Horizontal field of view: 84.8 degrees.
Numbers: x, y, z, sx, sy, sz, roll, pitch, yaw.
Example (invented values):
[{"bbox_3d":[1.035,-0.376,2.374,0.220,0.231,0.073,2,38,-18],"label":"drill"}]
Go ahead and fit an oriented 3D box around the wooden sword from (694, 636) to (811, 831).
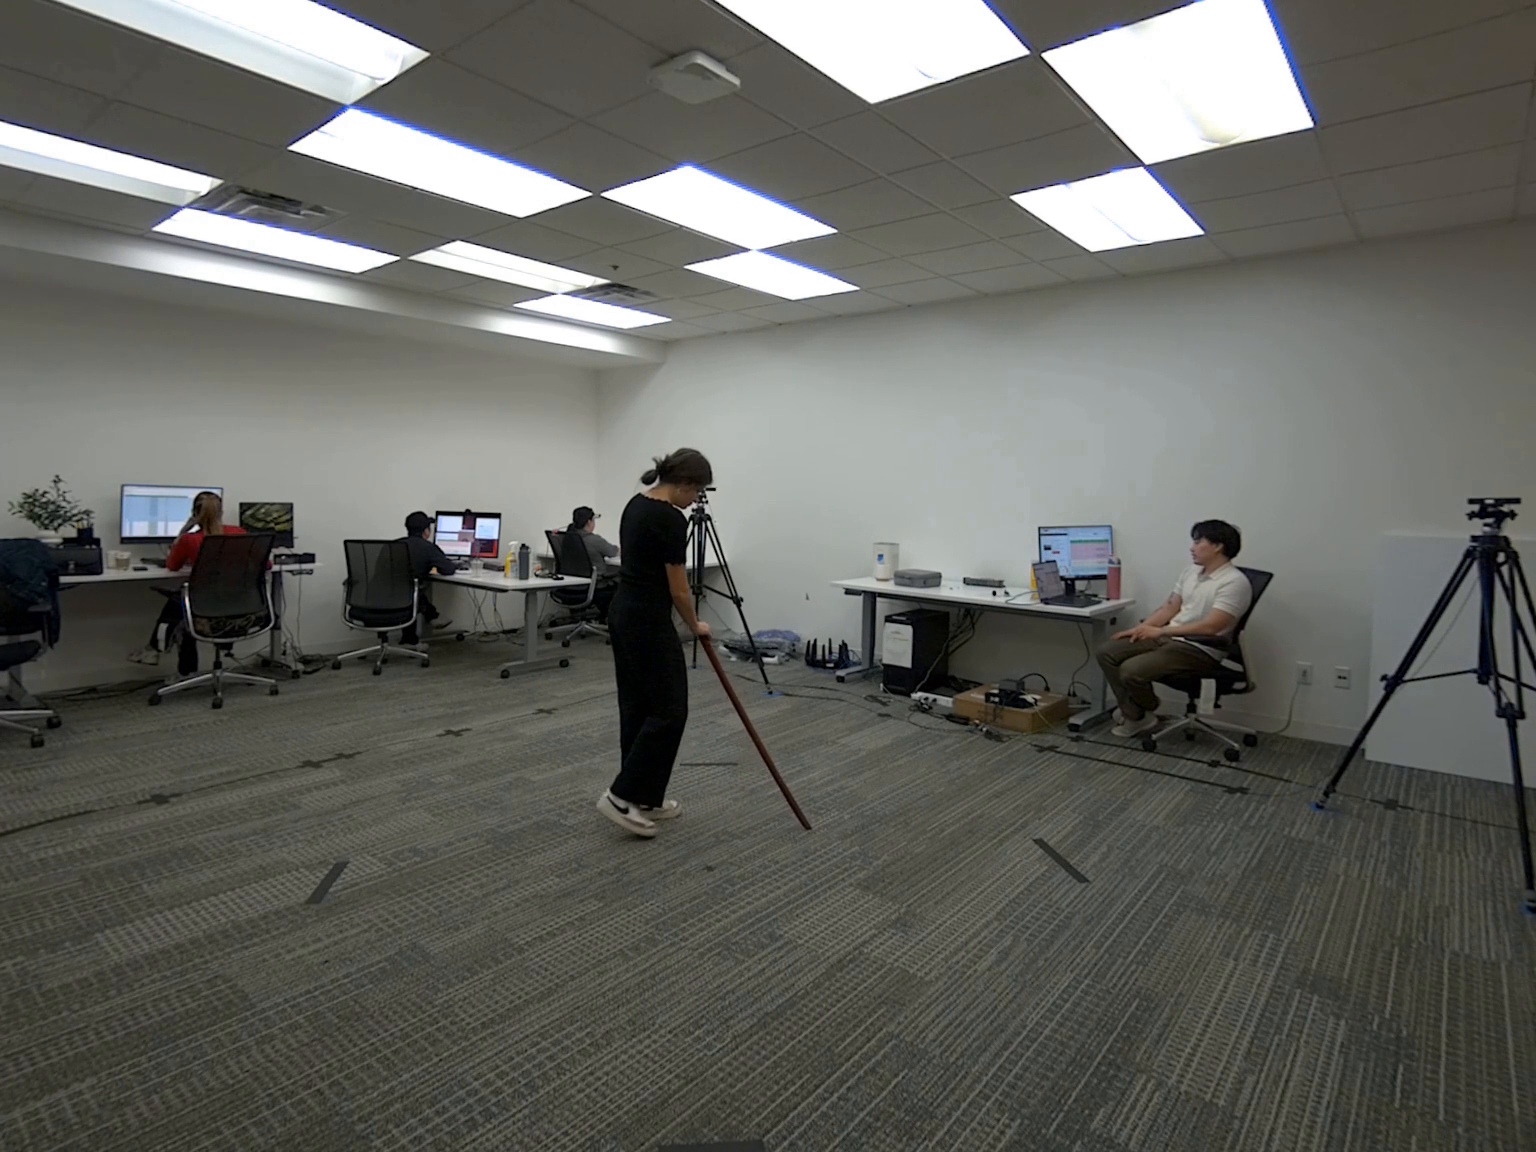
[{"bbox_3d":[-0.099,0.614,3.578,0.050,1.038,0.024,-25,-12,-38],"label":"wooden sword"}]
